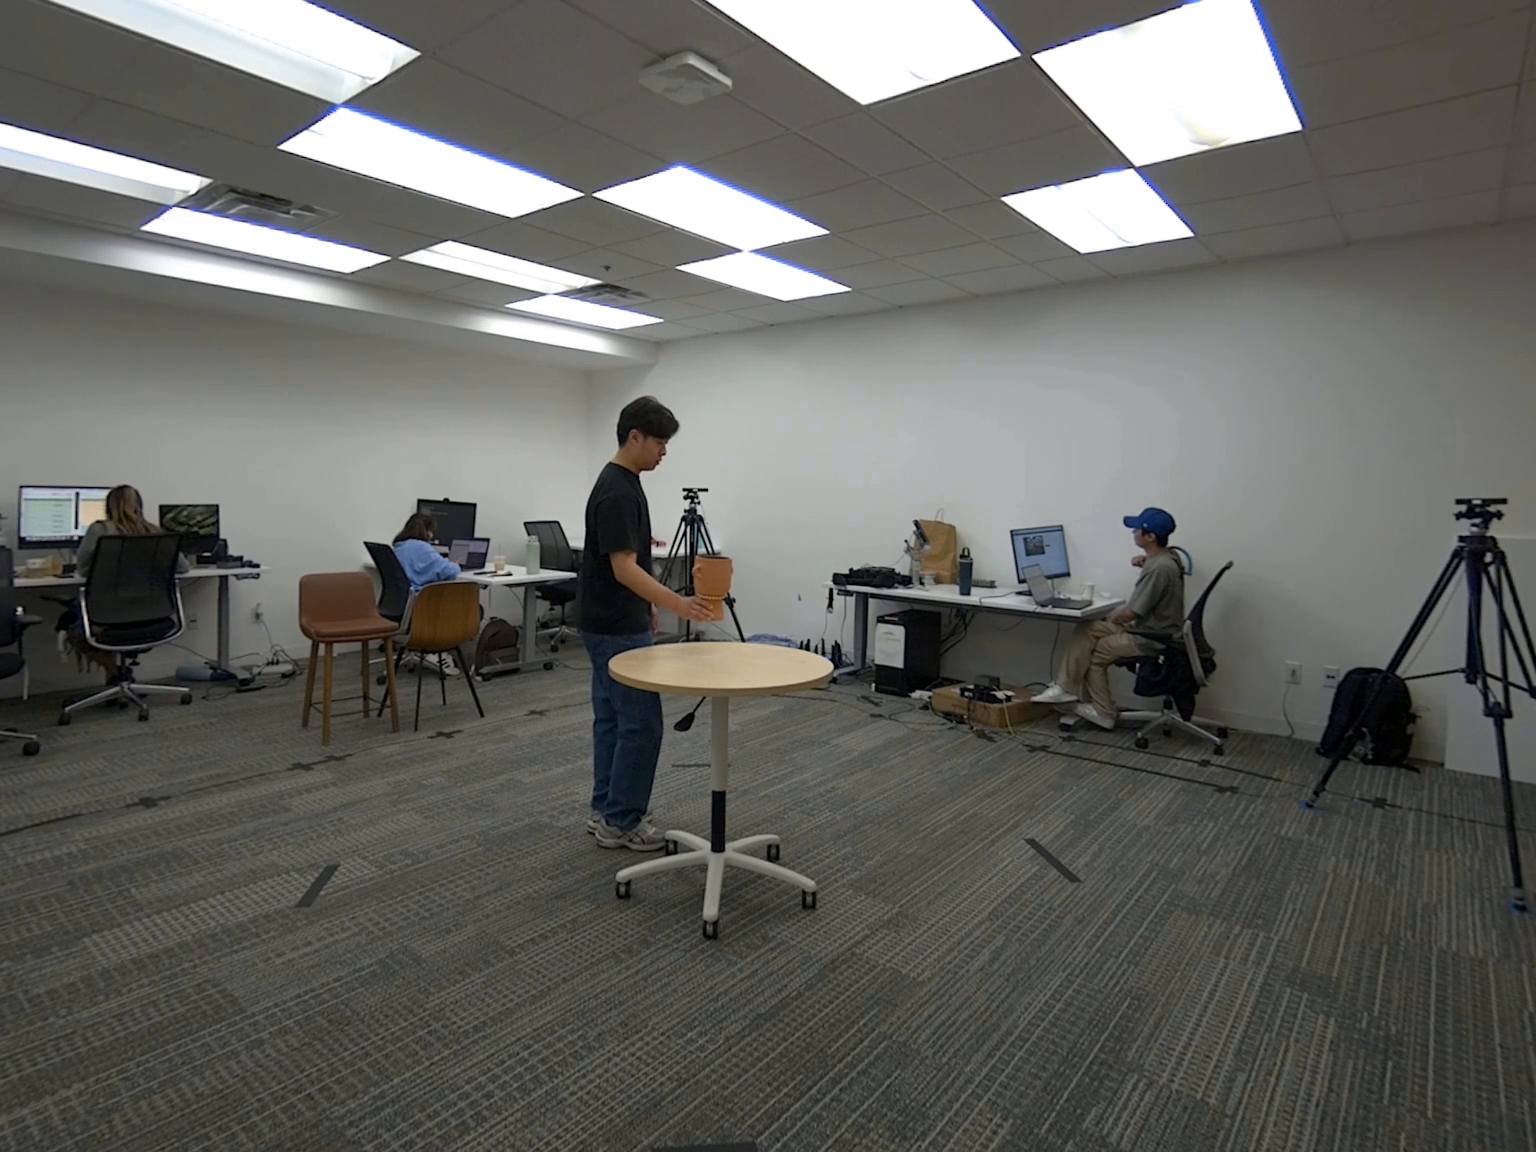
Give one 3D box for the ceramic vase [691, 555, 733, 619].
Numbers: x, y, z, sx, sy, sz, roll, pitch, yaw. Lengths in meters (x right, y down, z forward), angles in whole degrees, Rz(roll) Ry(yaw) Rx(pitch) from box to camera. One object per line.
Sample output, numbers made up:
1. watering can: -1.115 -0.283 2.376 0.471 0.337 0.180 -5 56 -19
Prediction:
1. ceramic vase: -0.213 0.044 3.034 0.157 0.219 0.136 5 6 -9
